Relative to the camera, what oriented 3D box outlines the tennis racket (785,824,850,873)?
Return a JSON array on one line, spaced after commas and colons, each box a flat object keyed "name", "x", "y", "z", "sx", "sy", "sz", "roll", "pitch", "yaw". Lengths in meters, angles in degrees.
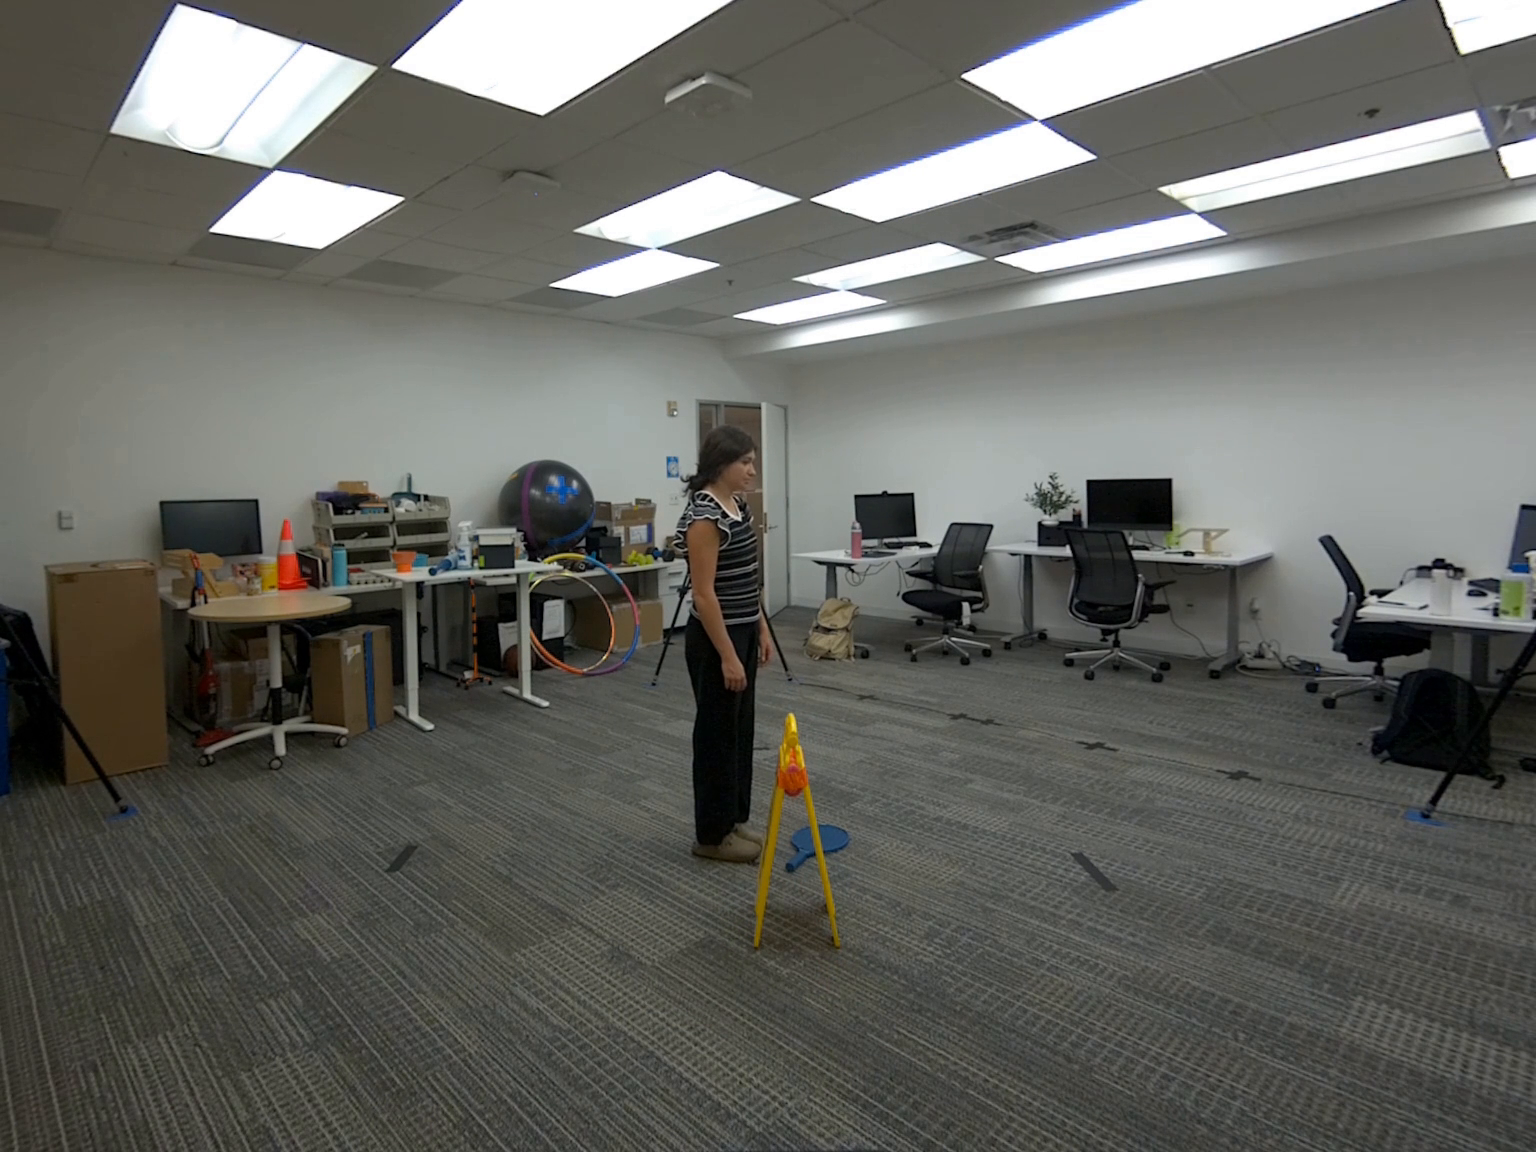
[{"name": "tennis racket", "x": 0.166, "y": 1.006, "z": 3.213, "sx": 0.219, "sy": 0.031, "sz": 0.424, "roll": 2, "pitch": 5, "yaw": 24}]
